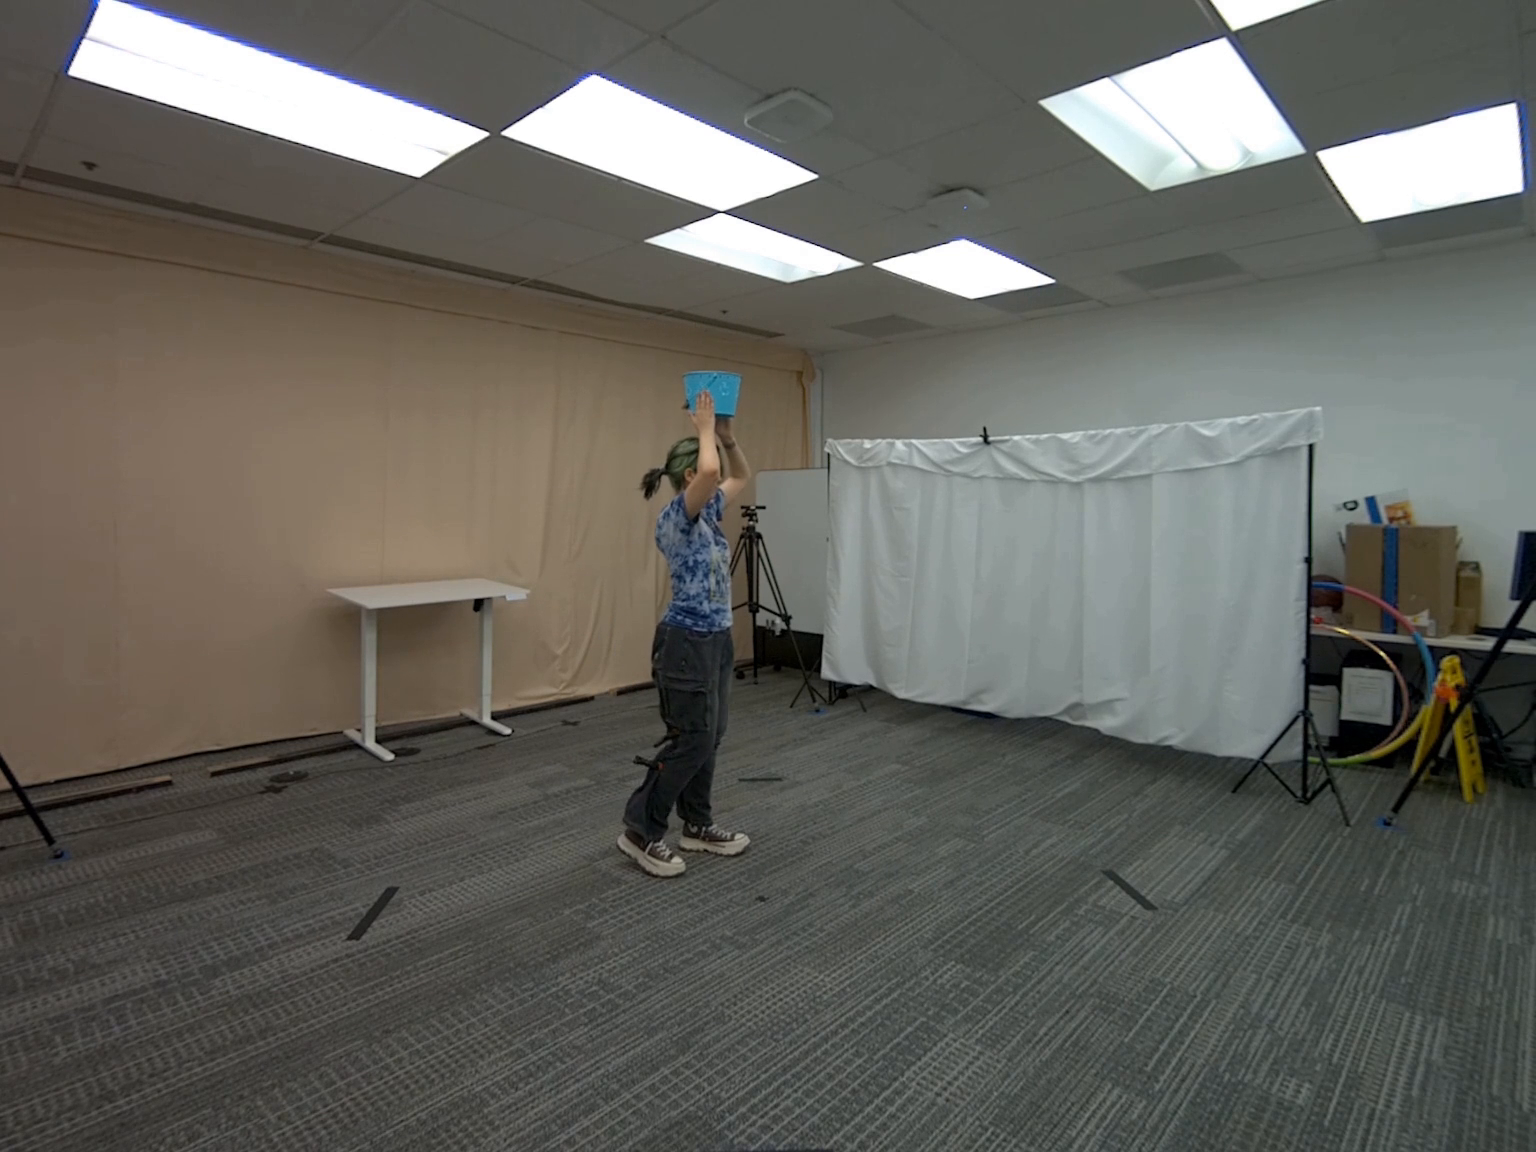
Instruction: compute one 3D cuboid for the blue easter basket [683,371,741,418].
[{"bbox_3d":[-0.225,-0.698,3.271,0.243,0.155,0.244,1,4,-2],"label":"blue easter basket"}]
